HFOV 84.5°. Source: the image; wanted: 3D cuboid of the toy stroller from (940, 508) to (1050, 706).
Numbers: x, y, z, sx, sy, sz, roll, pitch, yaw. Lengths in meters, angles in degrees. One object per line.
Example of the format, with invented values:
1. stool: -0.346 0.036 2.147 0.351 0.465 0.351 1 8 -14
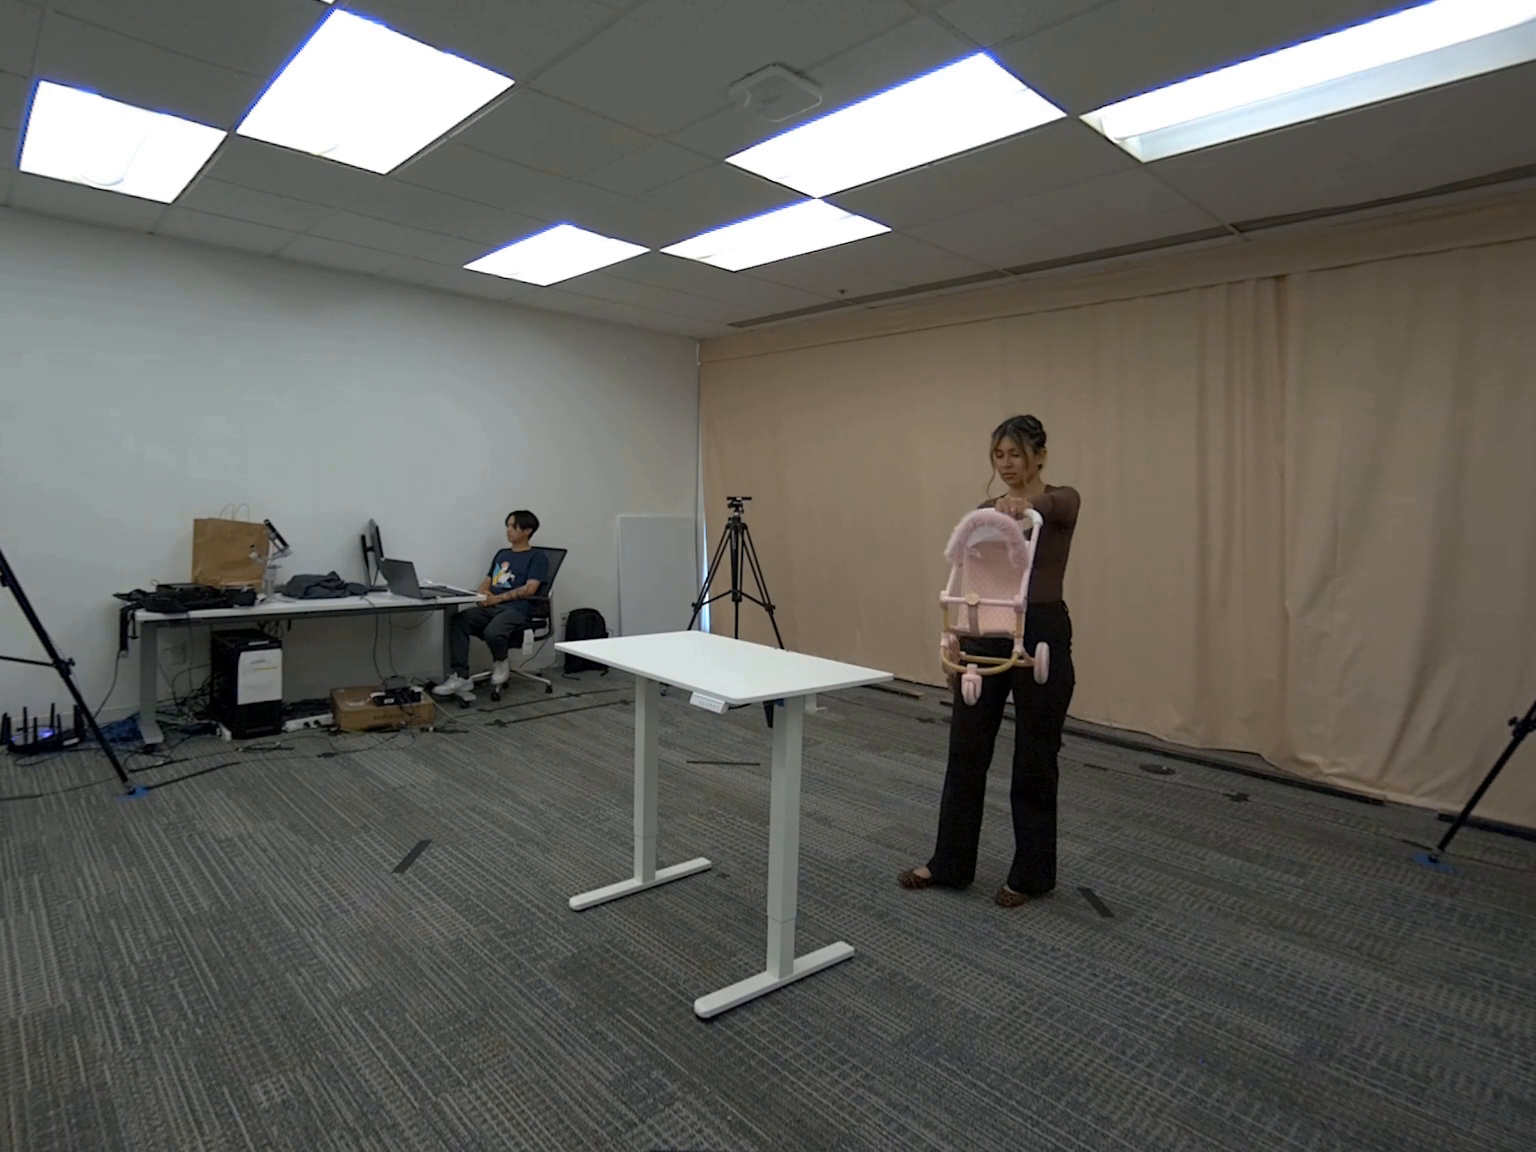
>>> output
1. toy stroller: 0.585 0.073 2.237 0.288 0.536 0.333 2 -4 32
